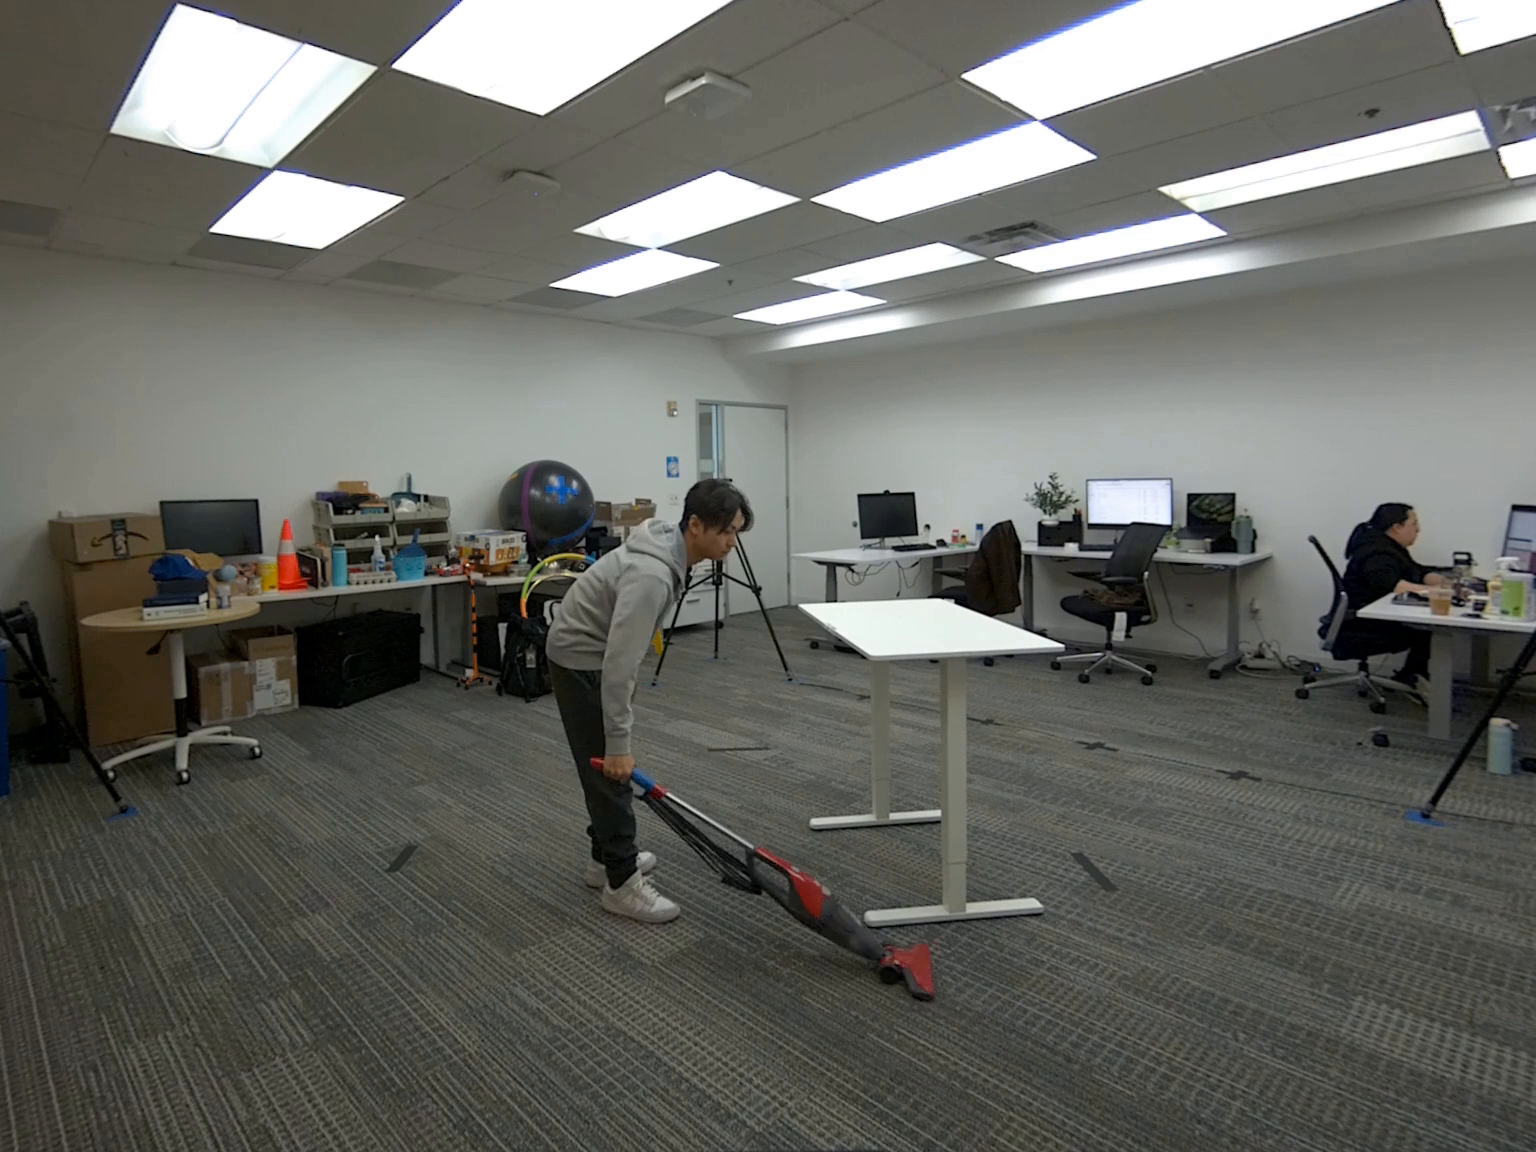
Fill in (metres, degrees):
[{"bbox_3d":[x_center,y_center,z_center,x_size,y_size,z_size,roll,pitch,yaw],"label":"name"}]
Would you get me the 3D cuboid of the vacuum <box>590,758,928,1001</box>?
[{"bbox_3d":[-0.059,0.820,2.494,1.062,0.143,0.250,32,9,9],"label":"vacuum"}]
